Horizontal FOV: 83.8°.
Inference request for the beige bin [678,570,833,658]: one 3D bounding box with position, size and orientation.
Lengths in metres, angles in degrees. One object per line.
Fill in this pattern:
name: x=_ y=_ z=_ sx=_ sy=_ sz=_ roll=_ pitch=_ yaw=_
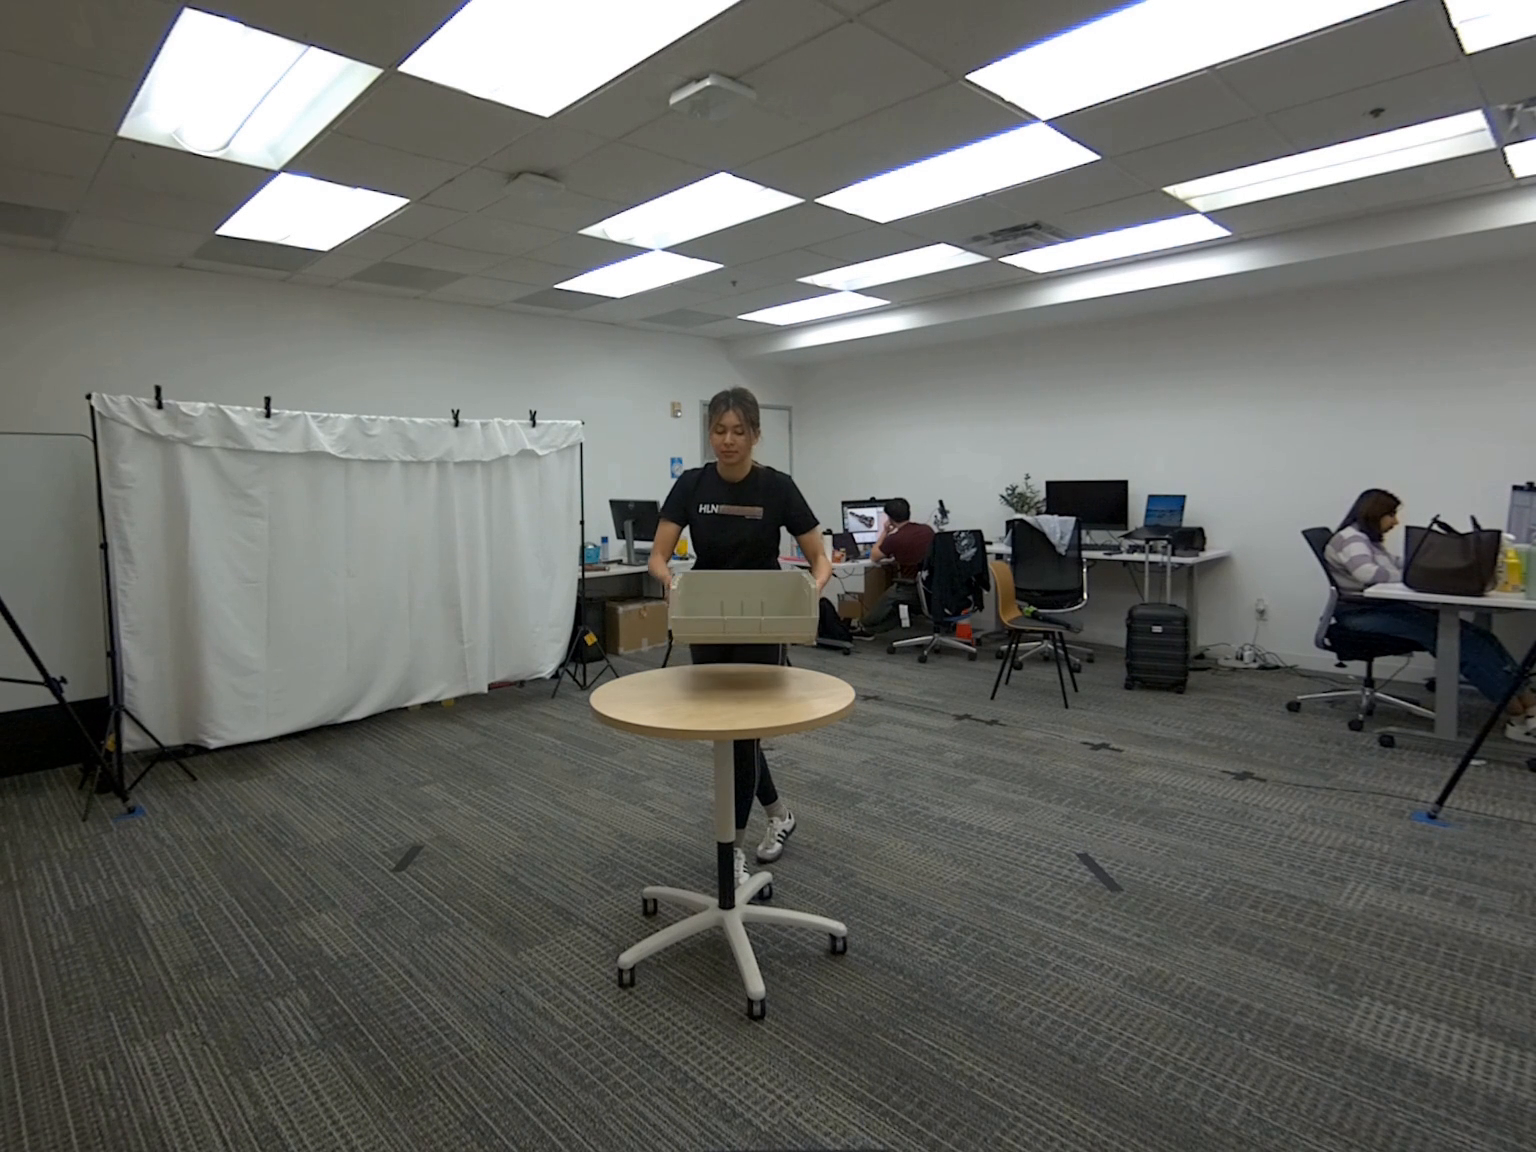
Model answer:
beige bin: x=-0.054 y=0.102 z=2.567 sx=0.421 sy=0.188 sz=0.380 roll=-3 pitch=5 yaw=-4
